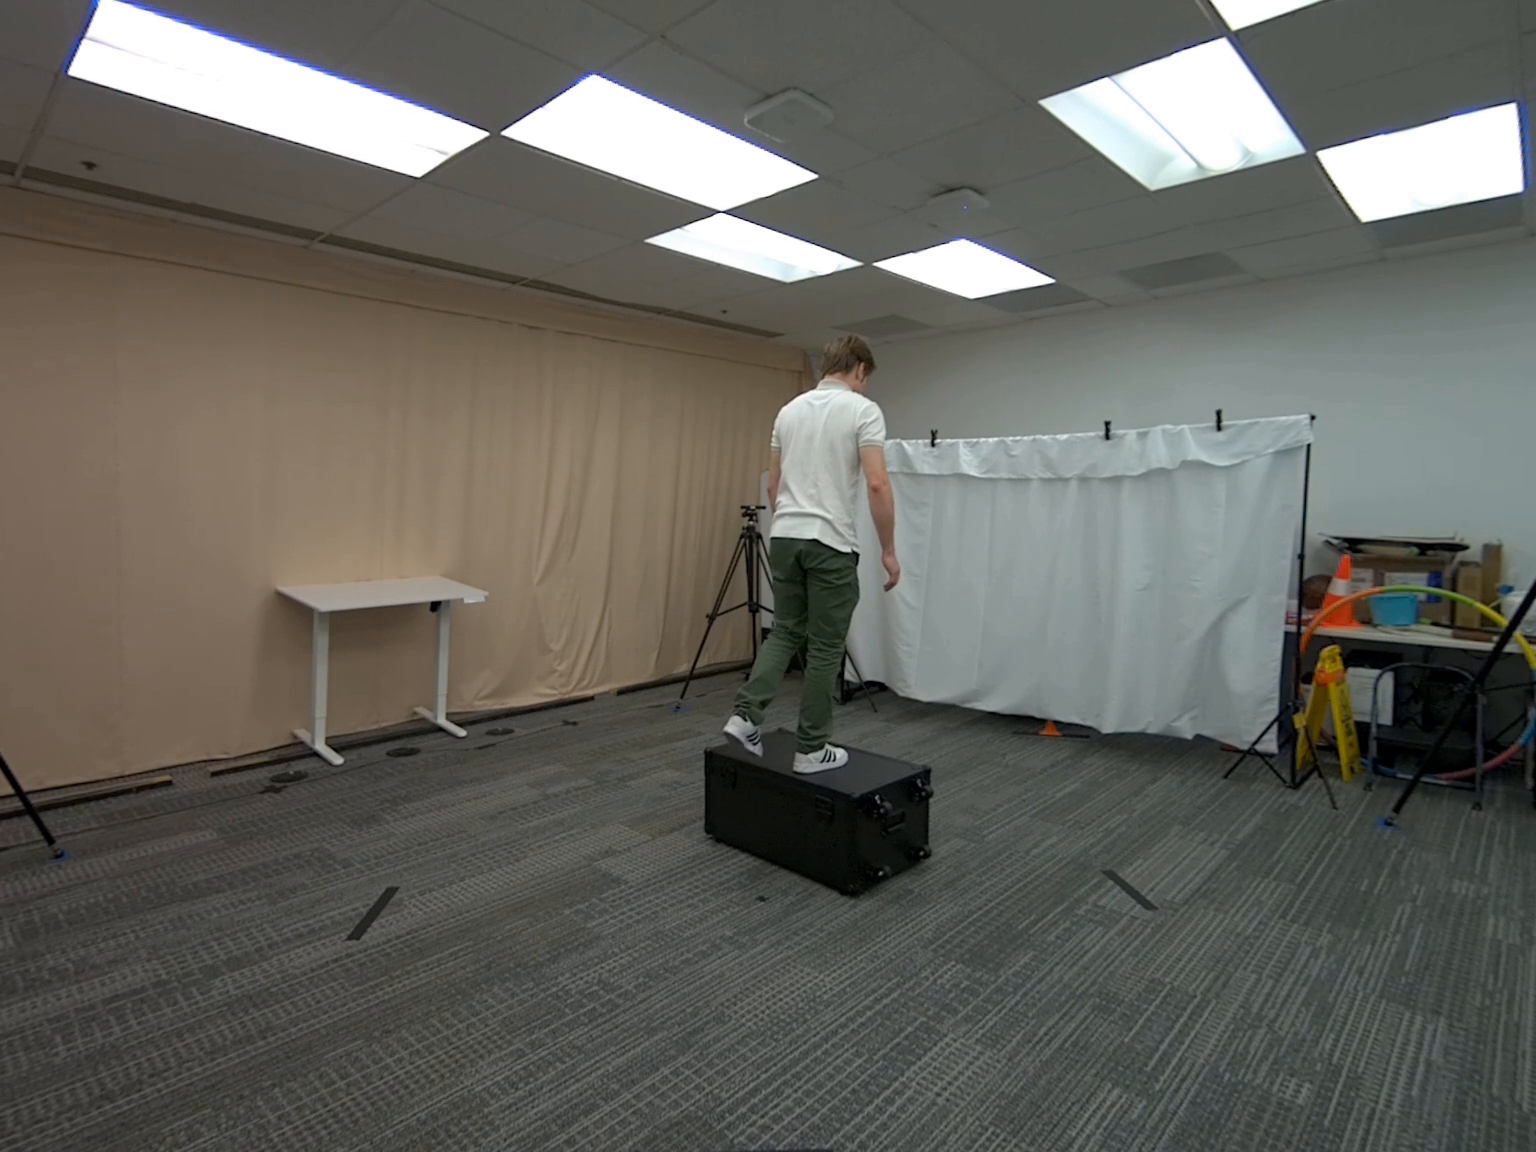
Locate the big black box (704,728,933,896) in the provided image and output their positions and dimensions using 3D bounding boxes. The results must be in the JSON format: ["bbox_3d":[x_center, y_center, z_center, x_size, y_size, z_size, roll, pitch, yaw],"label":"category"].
[{"bbox_3d":[0.207,0.921,3.375,0.890,0.395,0.505,3,5,44],"label":"big black box"}]
